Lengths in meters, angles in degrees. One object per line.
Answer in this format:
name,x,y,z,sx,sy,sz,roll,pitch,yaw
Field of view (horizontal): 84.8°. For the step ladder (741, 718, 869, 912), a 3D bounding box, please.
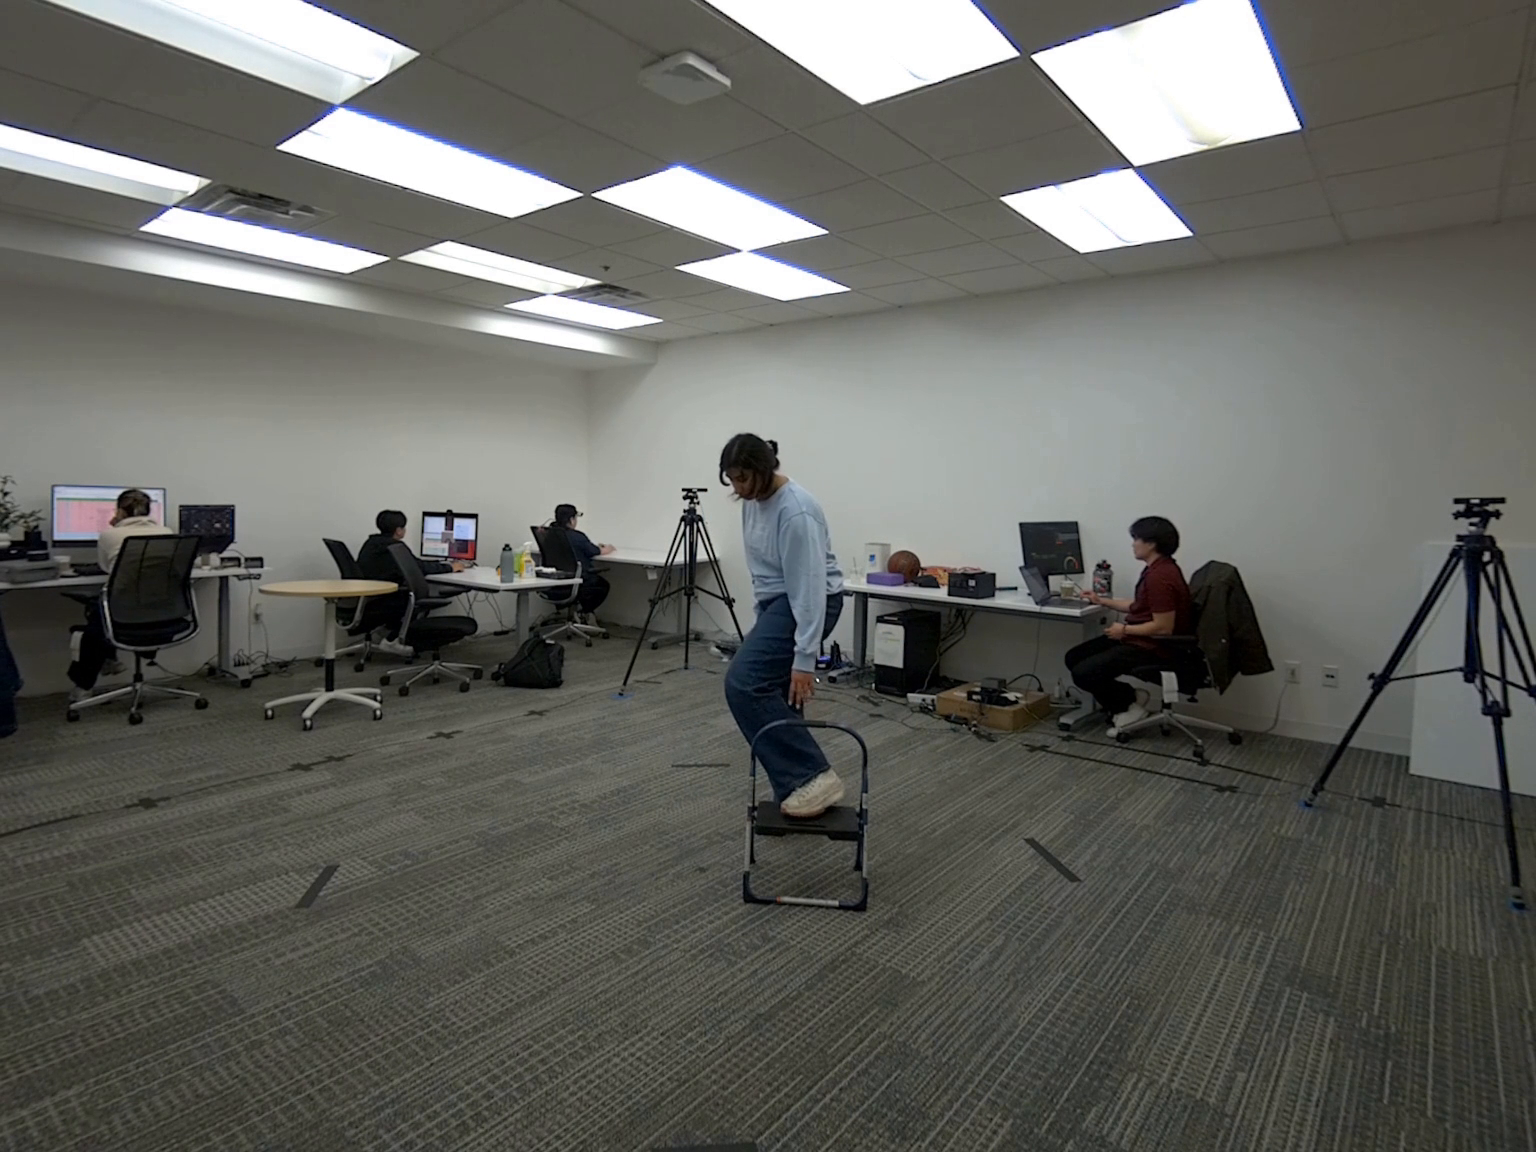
step ladder,0.130,0.788,2.993,0.433,0.605,0.348,2,3,4
